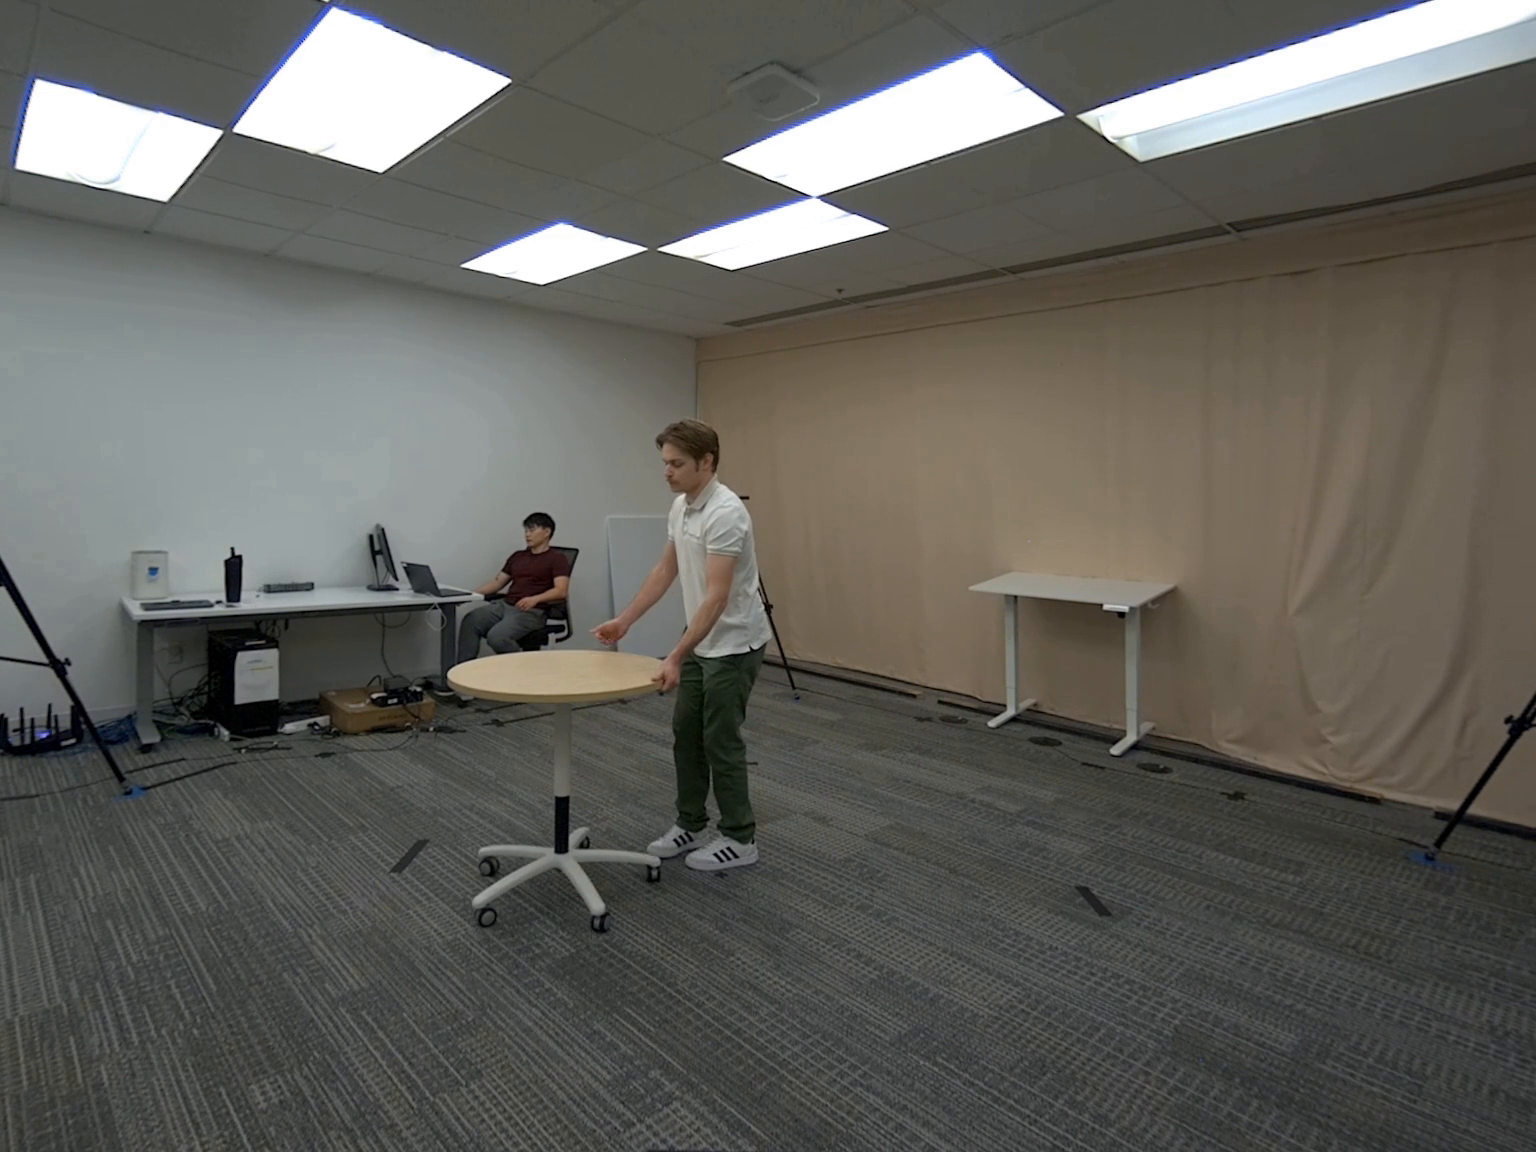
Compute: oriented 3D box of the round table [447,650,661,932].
[{"bbox_3d":[-0.723,0.720,2.928,0.763,0.792,0.766,1,4,-1],"label":"round table"}]
